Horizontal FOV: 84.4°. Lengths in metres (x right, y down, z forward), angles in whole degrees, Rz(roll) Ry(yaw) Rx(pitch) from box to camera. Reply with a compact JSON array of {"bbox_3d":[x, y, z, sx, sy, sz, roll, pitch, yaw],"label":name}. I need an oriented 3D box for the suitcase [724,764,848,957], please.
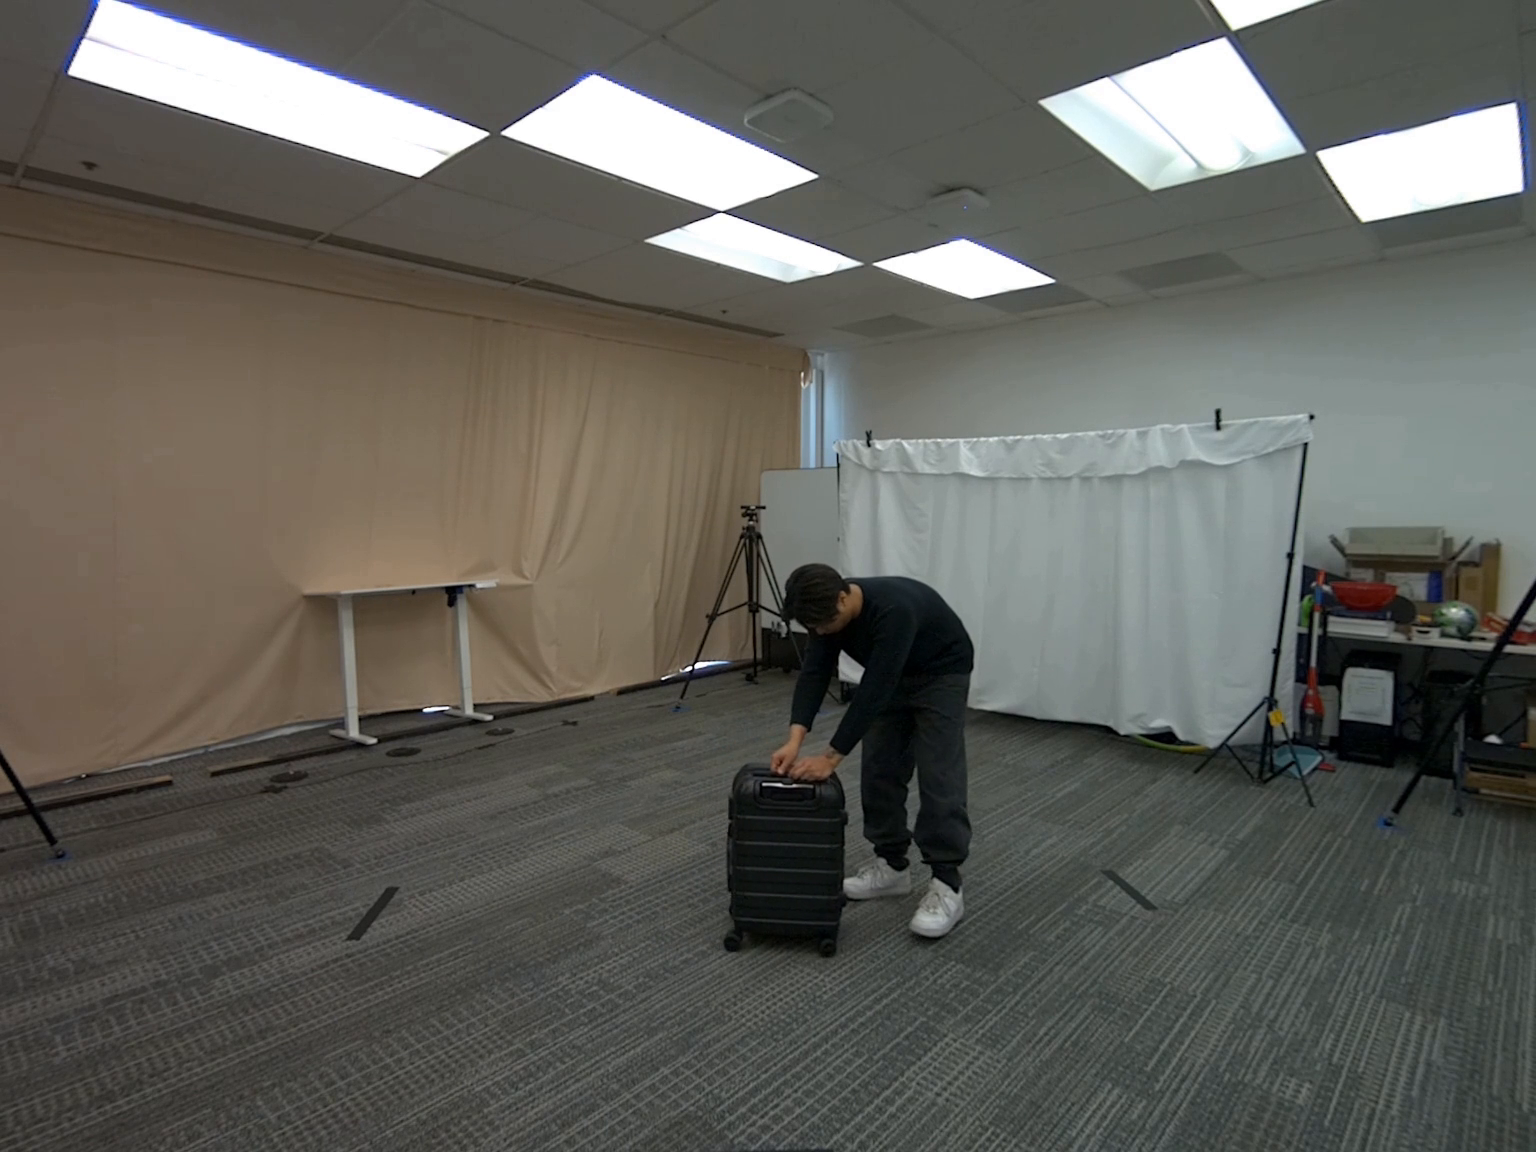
[{"bbox_3d":[0.062,0.894,2.709,0.376,0.548,0.248,1,3,2],"label":"suitcase"}]
